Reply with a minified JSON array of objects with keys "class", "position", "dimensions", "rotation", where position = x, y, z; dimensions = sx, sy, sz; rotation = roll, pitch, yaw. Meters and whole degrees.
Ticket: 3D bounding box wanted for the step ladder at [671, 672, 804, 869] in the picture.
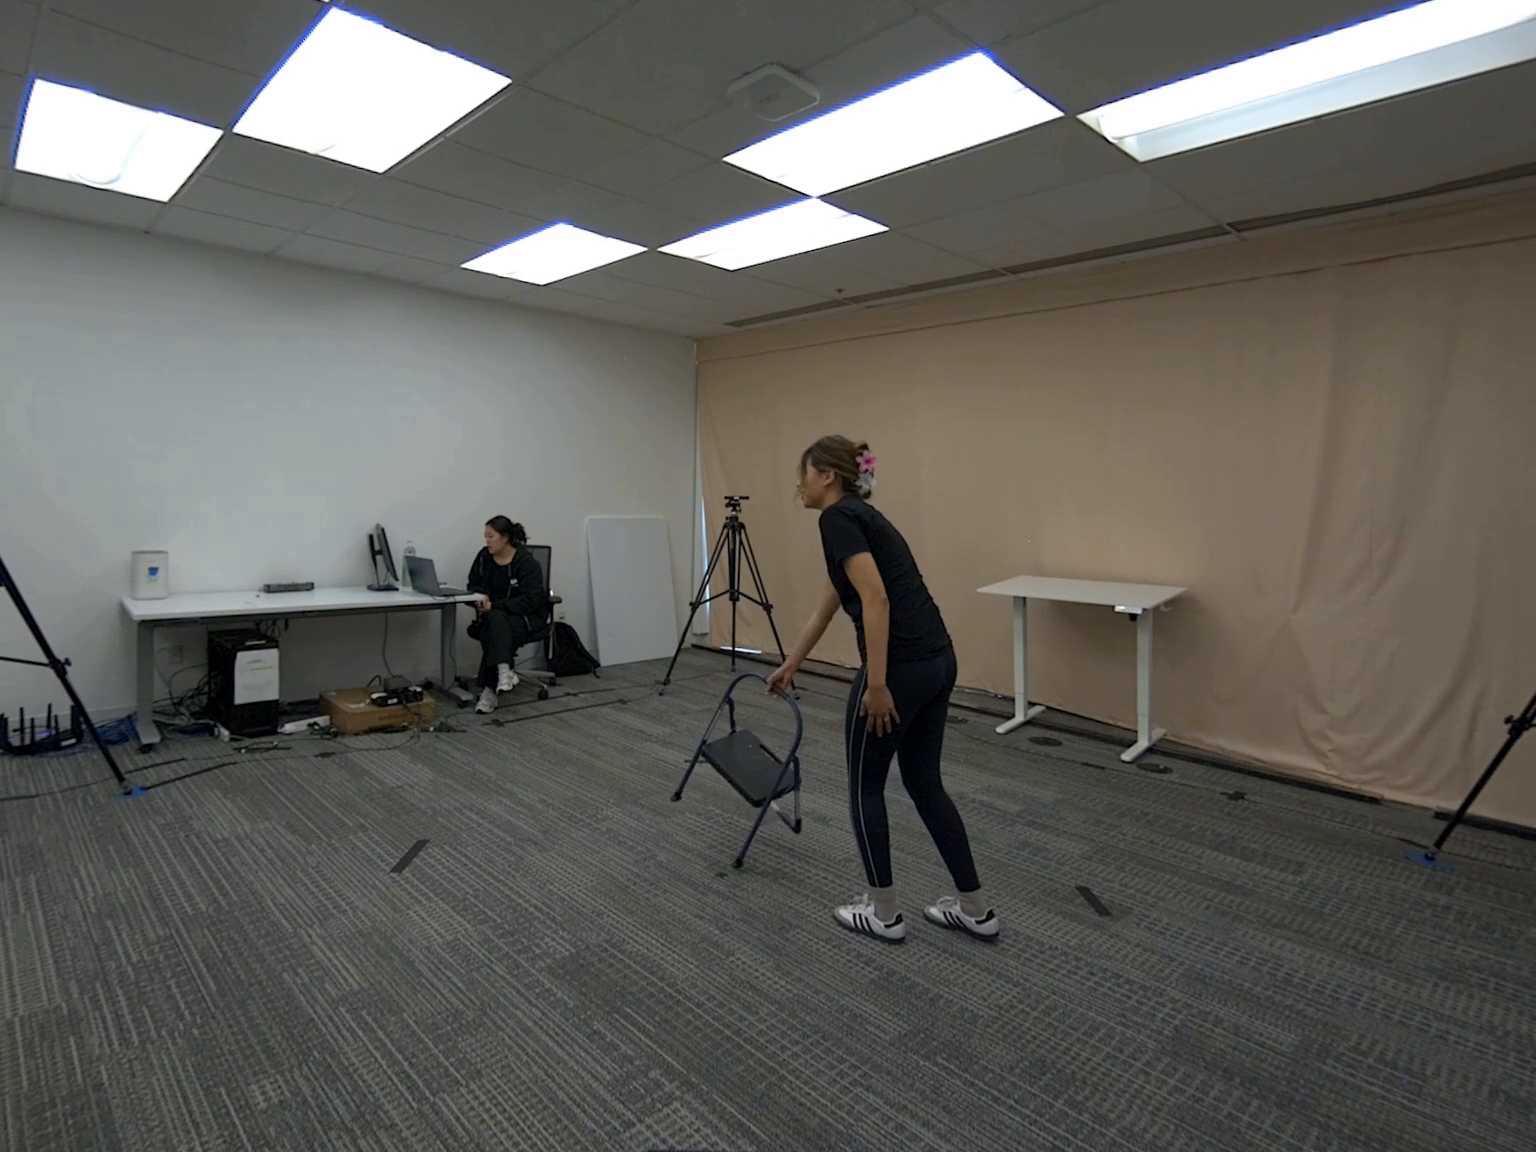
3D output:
[{"class":"step ladder","position":[-0.071,0.694,3.227],"dimensions":[0.343,0.598,0.444],"rotation":[-13,35,-40]}]
